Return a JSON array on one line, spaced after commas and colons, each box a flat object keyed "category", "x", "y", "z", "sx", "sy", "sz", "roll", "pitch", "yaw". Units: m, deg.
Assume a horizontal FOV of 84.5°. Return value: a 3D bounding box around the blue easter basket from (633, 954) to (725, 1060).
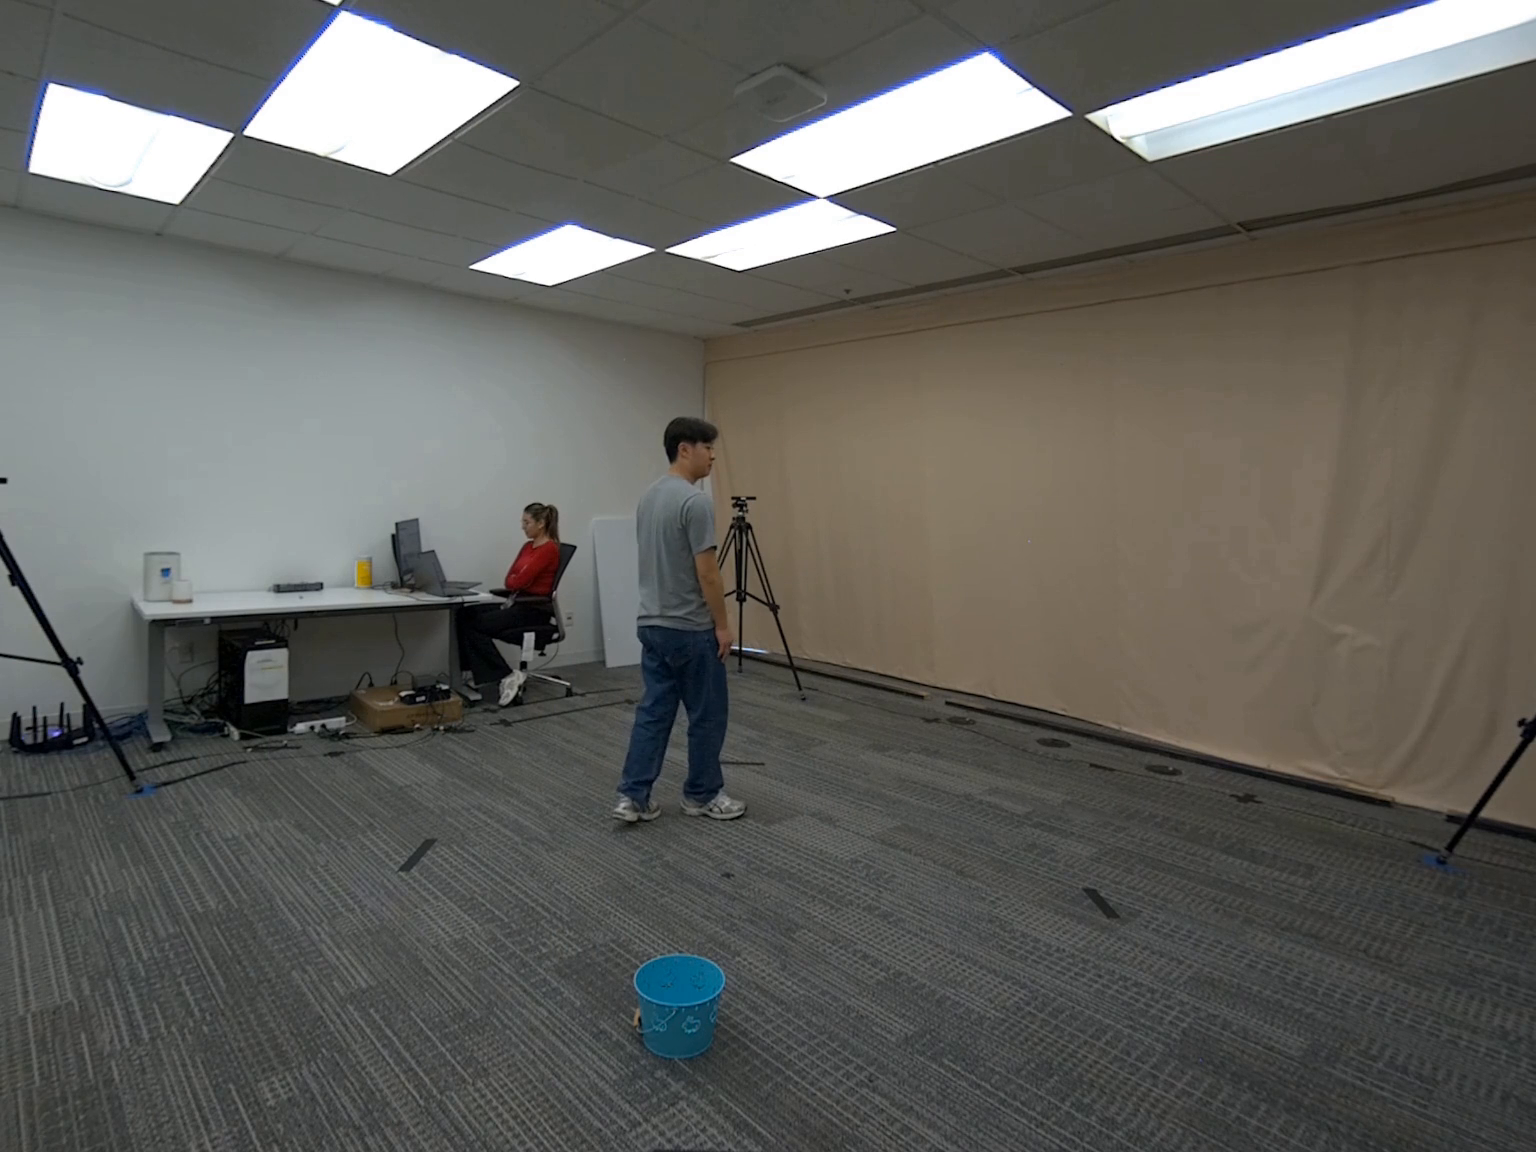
[{"category": "blue easter basket", "x": -0.237, "y": 1.115, "z": 2.172, "sx": 0.243, "sy": 0.155, "sz": 0.244, "roll": 1, "pitch": 5, "yaw": -1}]
